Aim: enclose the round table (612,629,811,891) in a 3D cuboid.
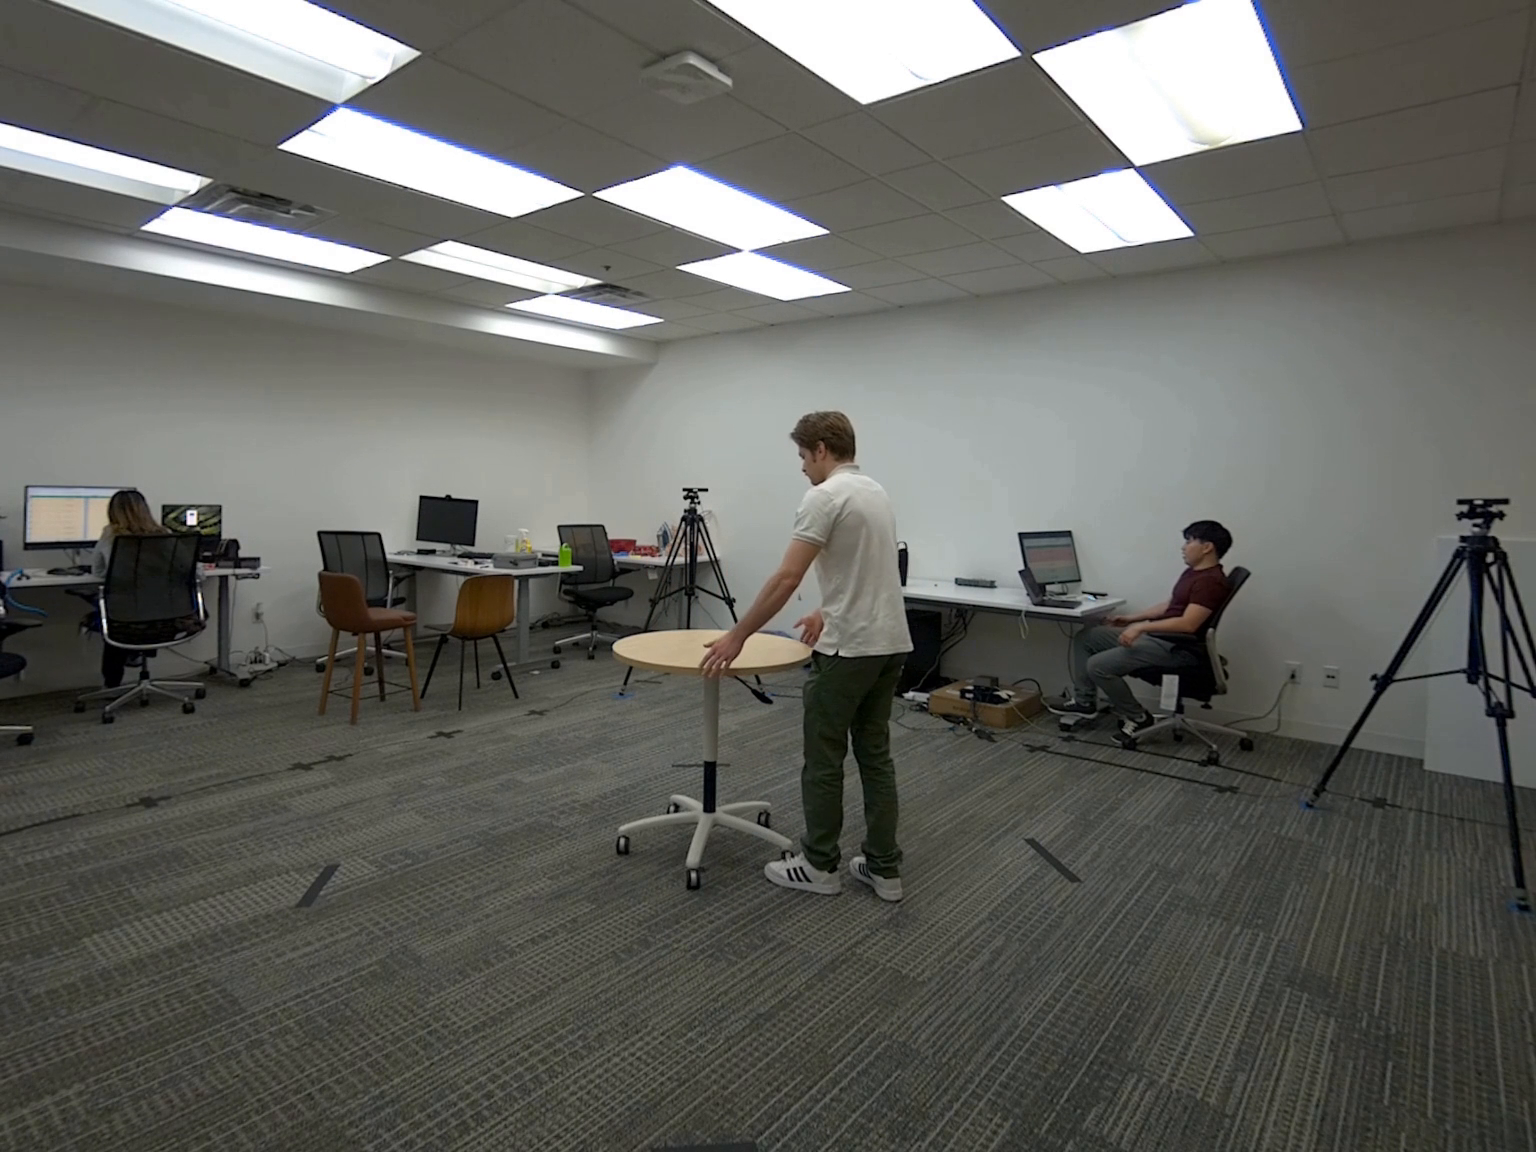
[{"bbox_3d":[-0.237,0.662,3.289,0.763,0.791,0.768,1,4,-2],"label":"round table"}]
